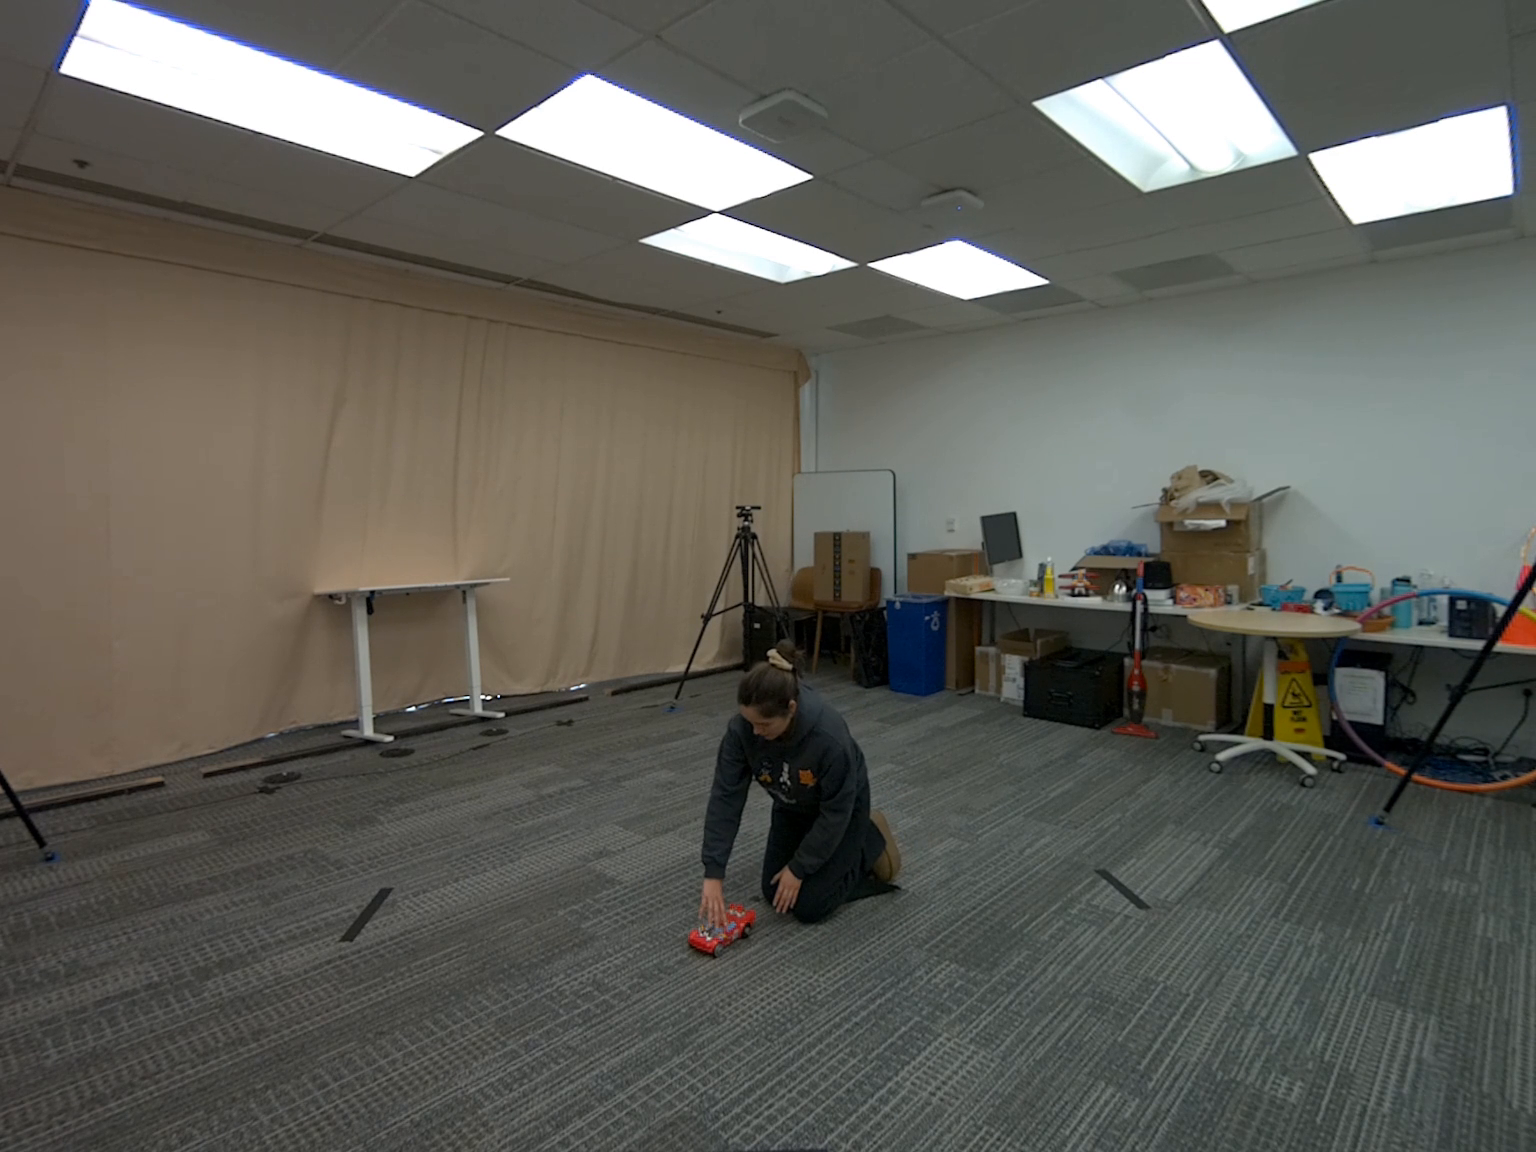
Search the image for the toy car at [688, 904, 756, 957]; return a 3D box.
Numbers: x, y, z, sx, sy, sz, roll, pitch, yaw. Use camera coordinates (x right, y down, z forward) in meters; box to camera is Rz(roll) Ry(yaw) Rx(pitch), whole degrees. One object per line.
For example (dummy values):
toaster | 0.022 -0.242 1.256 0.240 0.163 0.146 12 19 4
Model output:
toy car | -0.119 1.135 2.704 0.134 0.082 0.249 0 16 39
